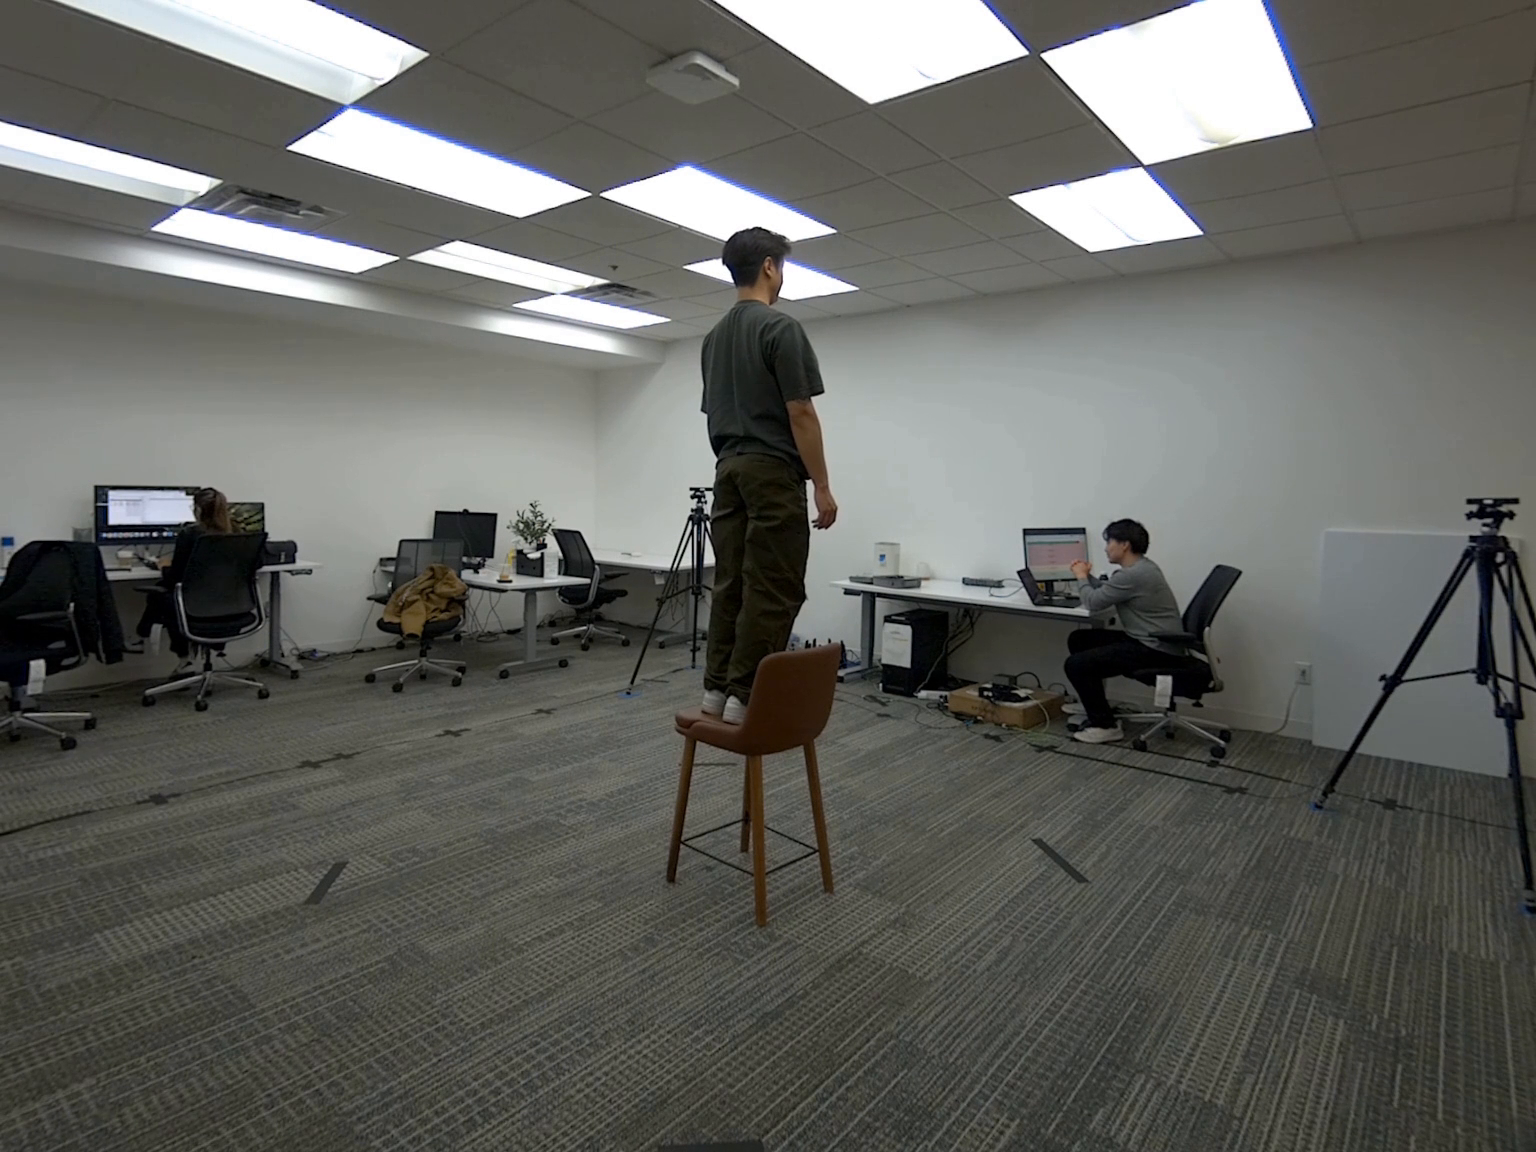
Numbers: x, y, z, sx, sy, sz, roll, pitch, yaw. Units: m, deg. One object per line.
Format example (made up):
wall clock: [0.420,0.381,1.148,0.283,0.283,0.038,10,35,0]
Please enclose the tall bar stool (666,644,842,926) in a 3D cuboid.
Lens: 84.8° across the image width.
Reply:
tall bar stool: [-0.053,0.647,2.959,0.484,0.887,0.442,6,6,43]
